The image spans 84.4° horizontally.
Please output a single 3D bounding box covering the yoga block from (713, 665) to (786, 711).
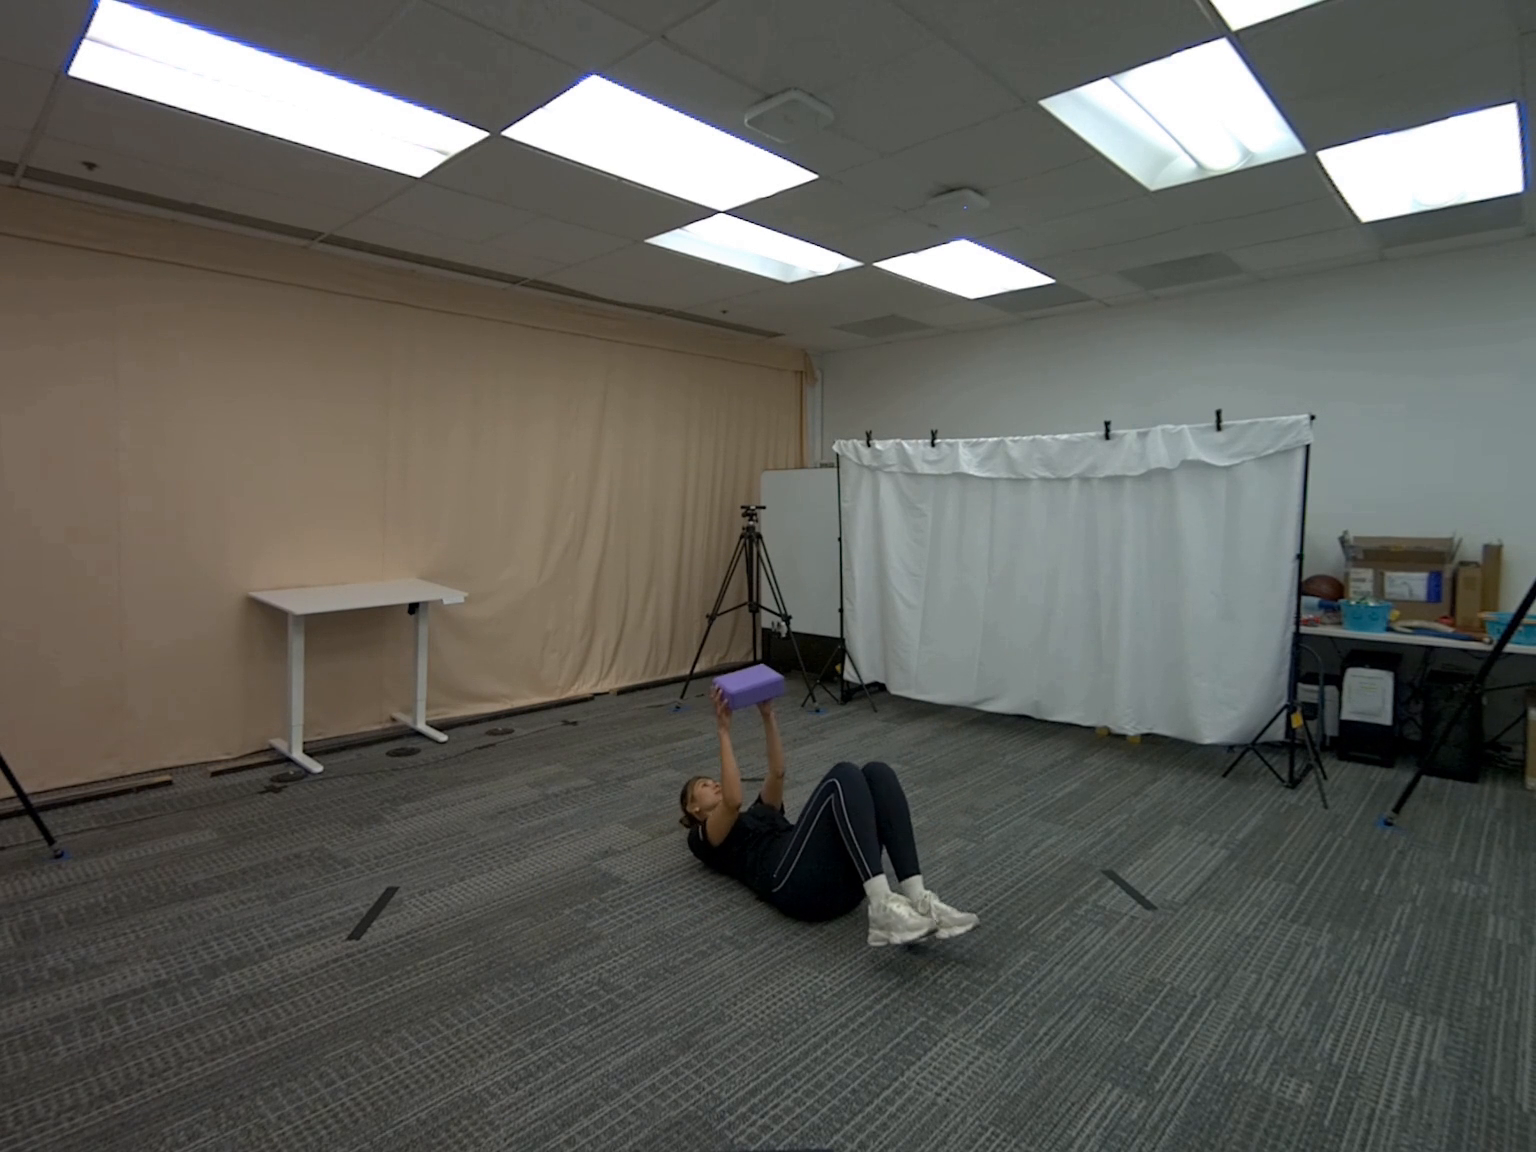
[{"bbox_3d":[-0.098,0.418,3.068,0.224,0.075,0.154,-14,22,-28],"label":"yoga block"}]
